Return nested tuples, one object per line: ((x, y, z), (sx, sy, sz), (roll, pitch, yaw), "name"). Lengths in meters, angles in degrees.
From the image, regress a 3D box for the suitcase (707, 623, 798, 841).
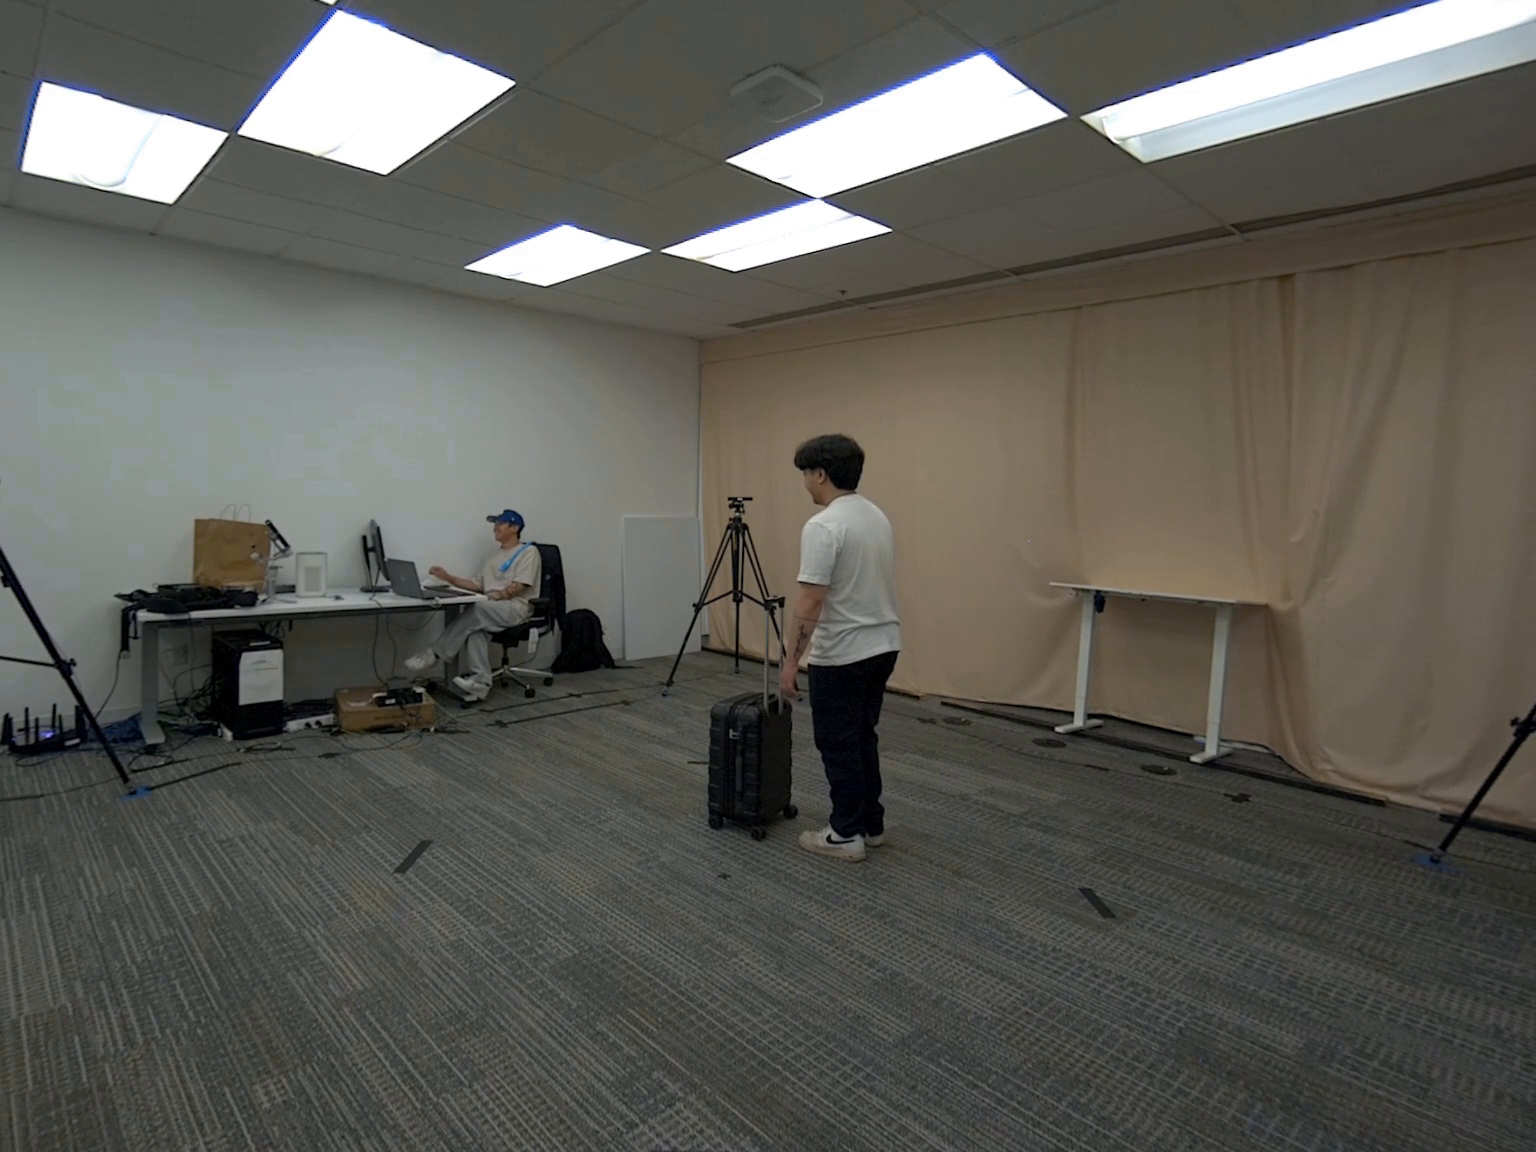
((-0.083, 0.590, 3.635), (0.262, 0.978, 0.376), (0, 1, 30), "suitcase")
